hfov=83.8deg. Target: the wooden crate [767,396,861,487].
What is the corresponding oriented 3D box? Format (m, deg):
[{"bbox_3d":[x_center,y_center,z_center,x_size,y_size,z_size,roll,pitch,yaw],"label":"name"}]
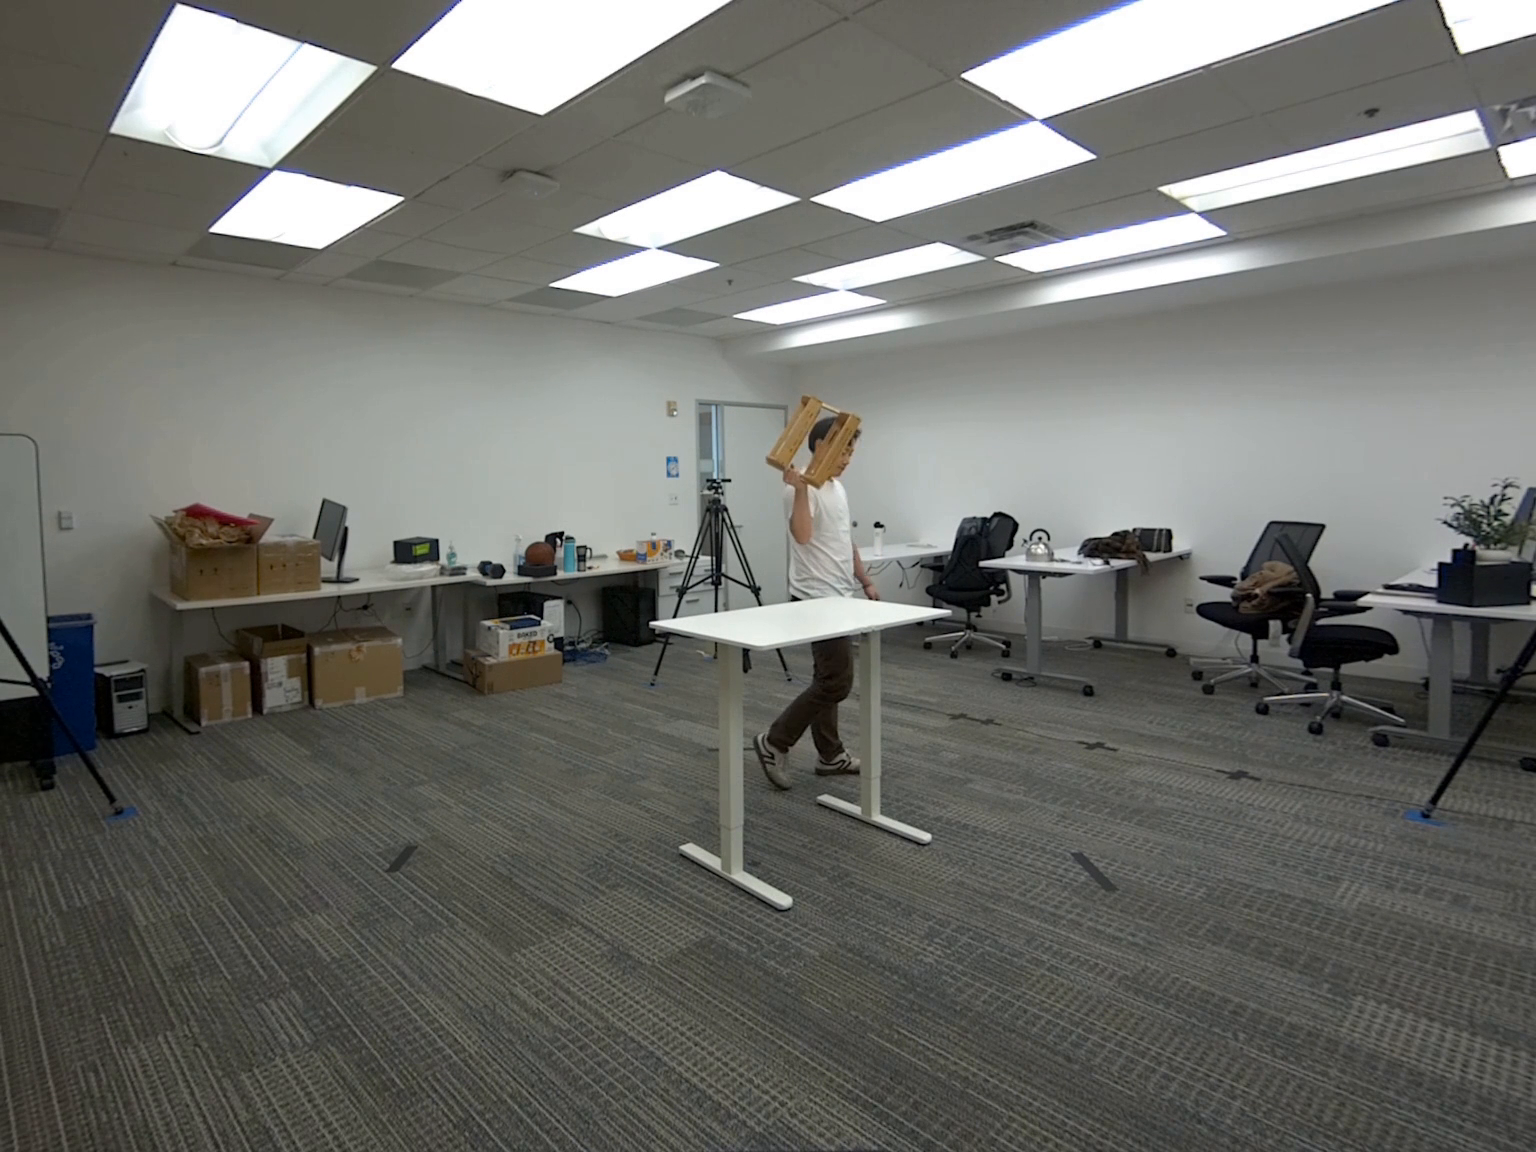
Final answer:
[{"bbox_3d":[0.181,-0.559,3.490,0.274,0.324,0.301,30,0,2],"label":"wooden crate"}]
